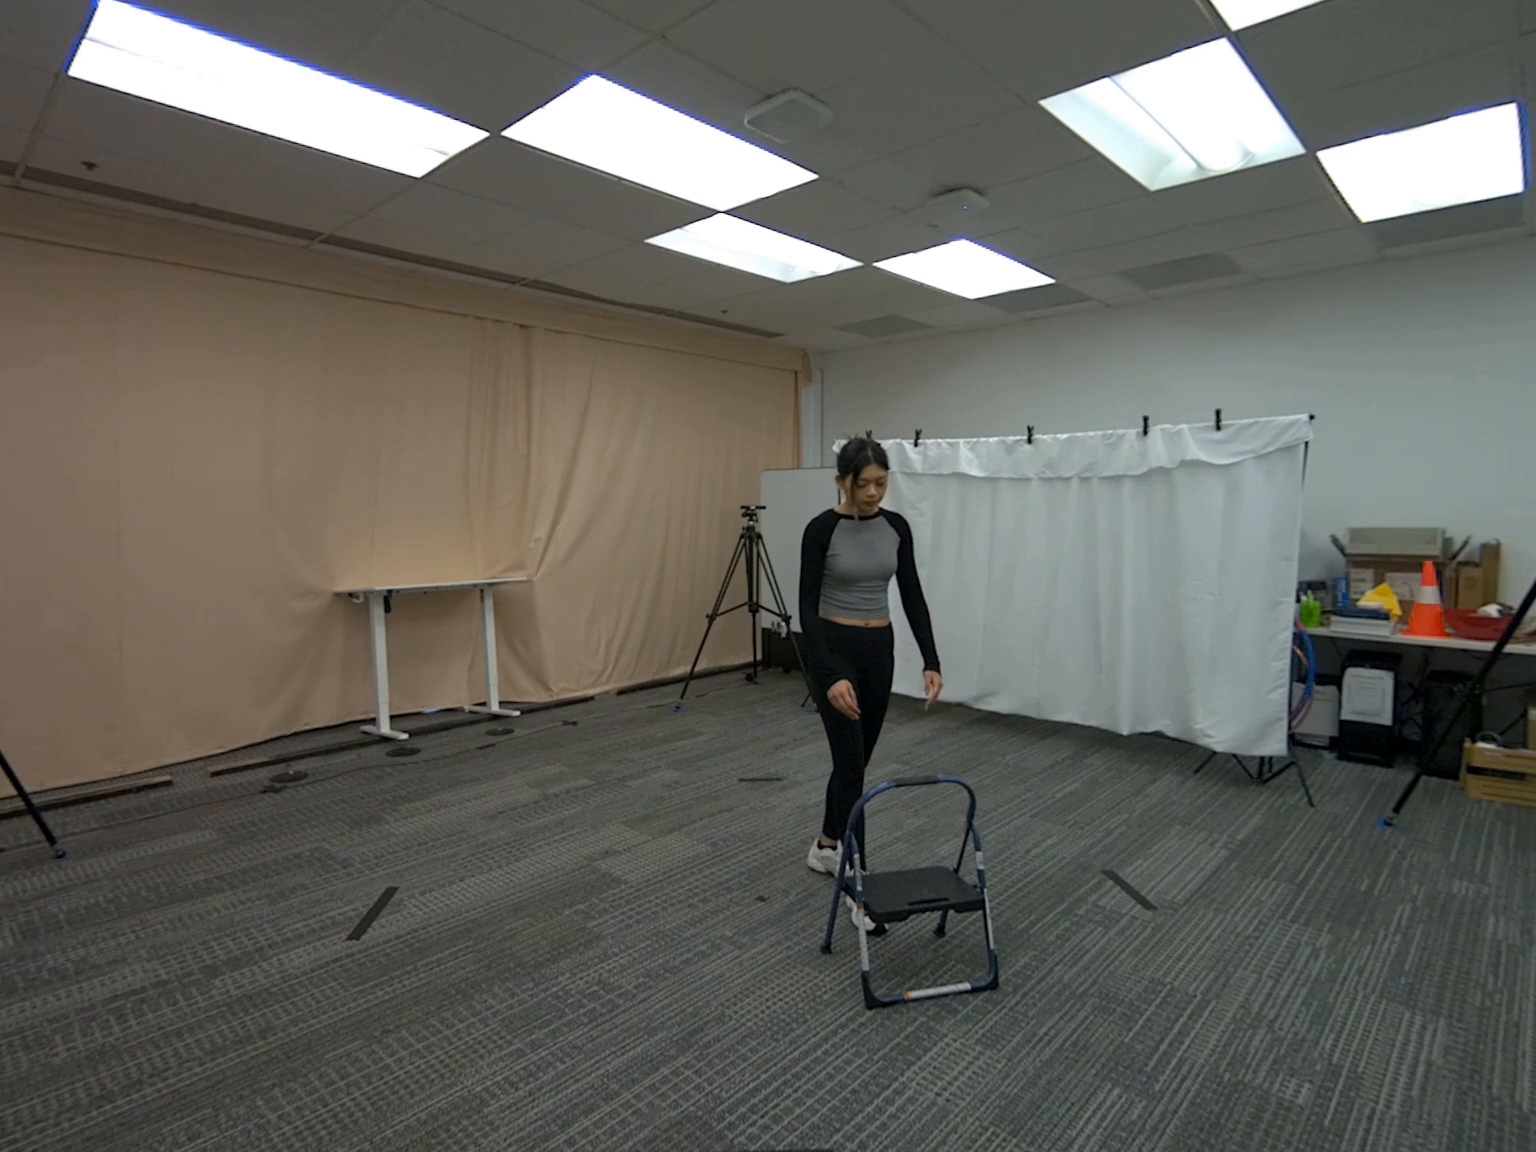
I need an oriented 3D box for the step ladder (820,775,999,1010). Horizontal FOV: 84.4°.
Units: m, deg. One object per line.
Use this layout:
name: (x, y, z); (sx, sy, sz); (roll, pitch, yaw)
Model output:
step ladder: (0.422, 0.880, 2.520); (0.423, 0.605, 0.356); (-1, 4, -17)
